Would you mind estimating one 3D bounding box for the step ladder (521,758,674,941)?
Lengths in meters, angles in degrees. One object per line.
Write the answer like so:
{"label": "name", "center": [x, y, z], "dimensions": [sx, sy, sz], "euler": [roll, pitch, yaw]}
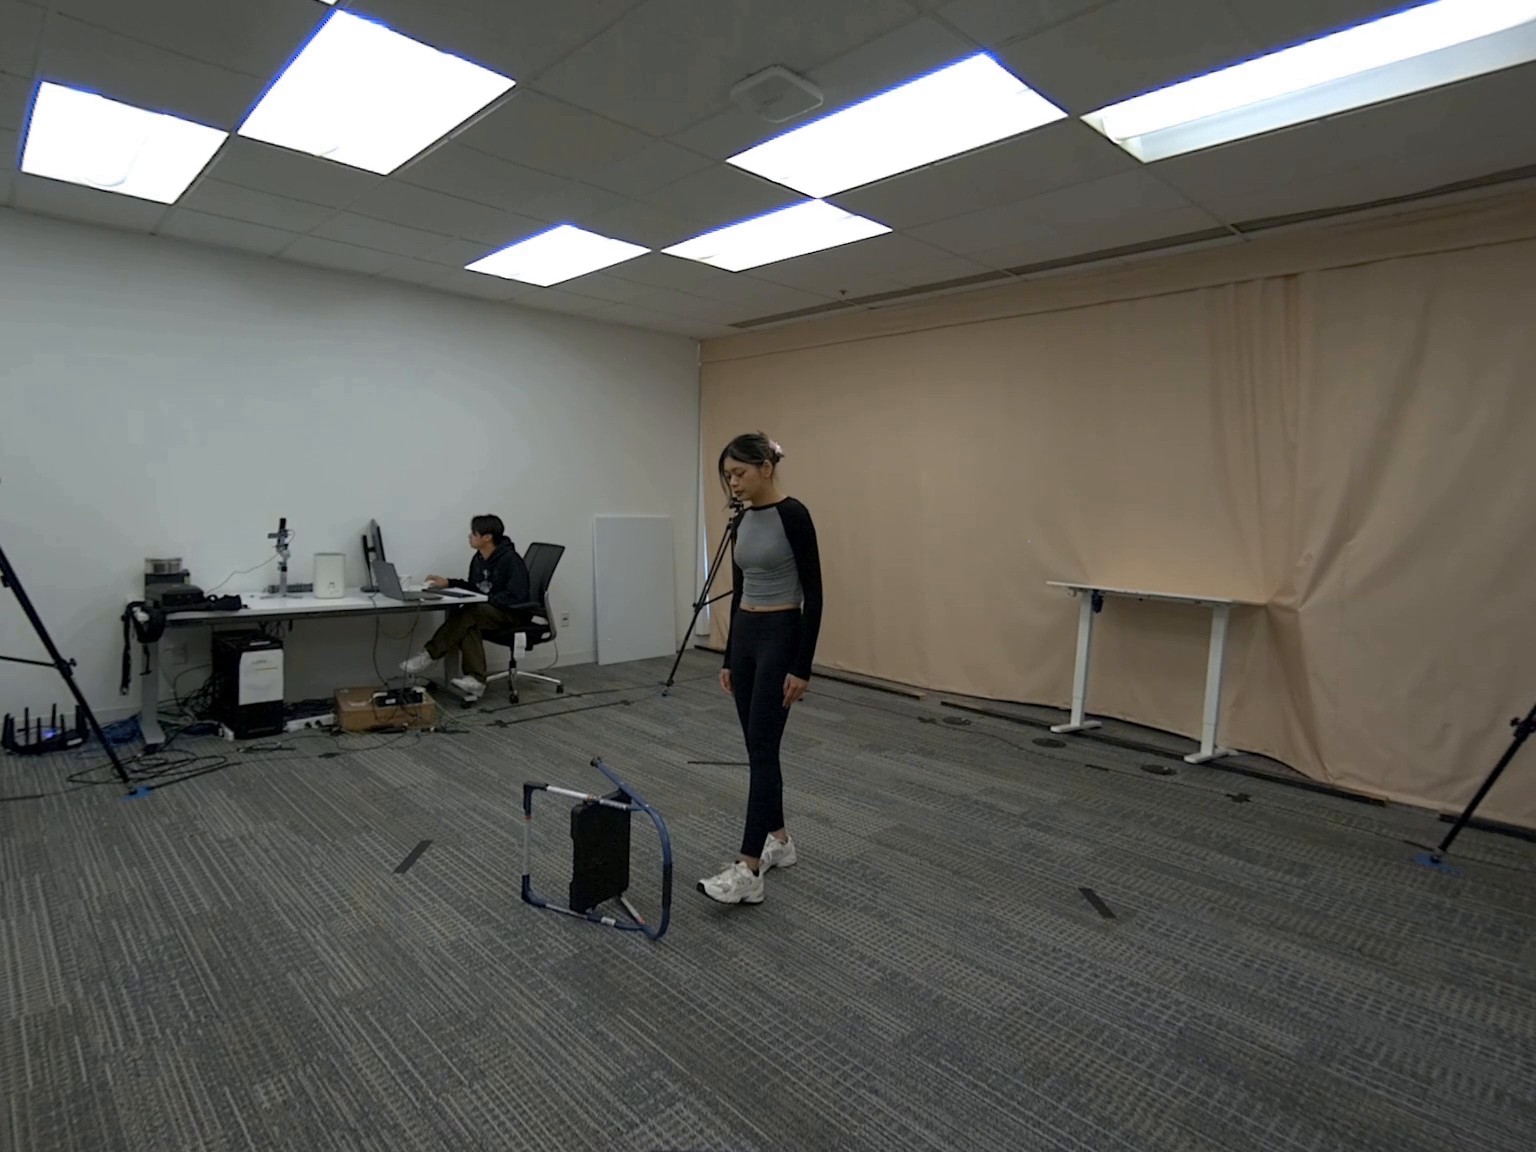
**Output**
{"label": "step ladder", "center": [-0.508, 0.921, 2.796], "dimensions": [0.621, 0.429, 0.342], "euler": [6, 7, 39]}
